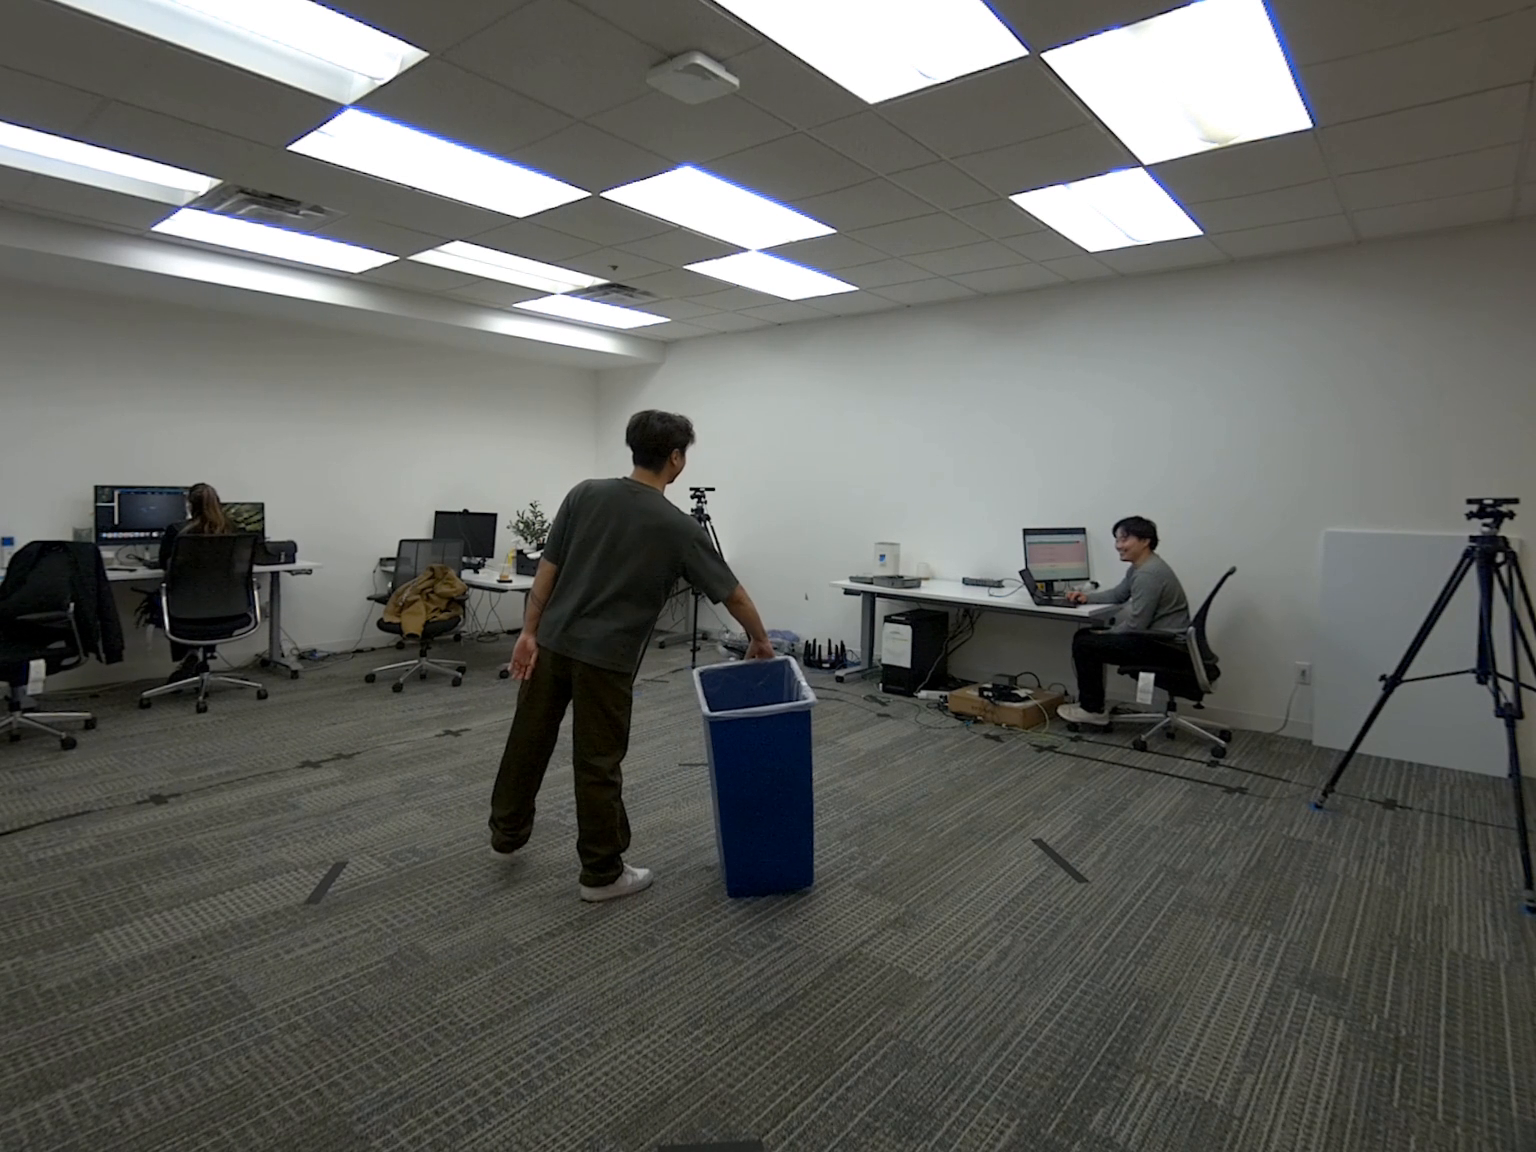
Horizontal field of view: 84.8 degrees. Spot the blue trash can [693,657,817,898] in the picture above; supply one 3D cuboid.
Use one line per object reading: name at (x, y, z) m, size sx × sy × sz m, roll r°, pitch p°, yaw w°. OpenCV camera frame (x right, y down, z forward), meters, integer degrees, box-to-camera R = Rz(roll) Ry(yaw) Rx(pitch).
blue trash can at (-0.059, 0.701, 2.937) m, size 0.371 × 0.703 × 0.387 m, roll -5°, pitch 16°, yaw -8°
